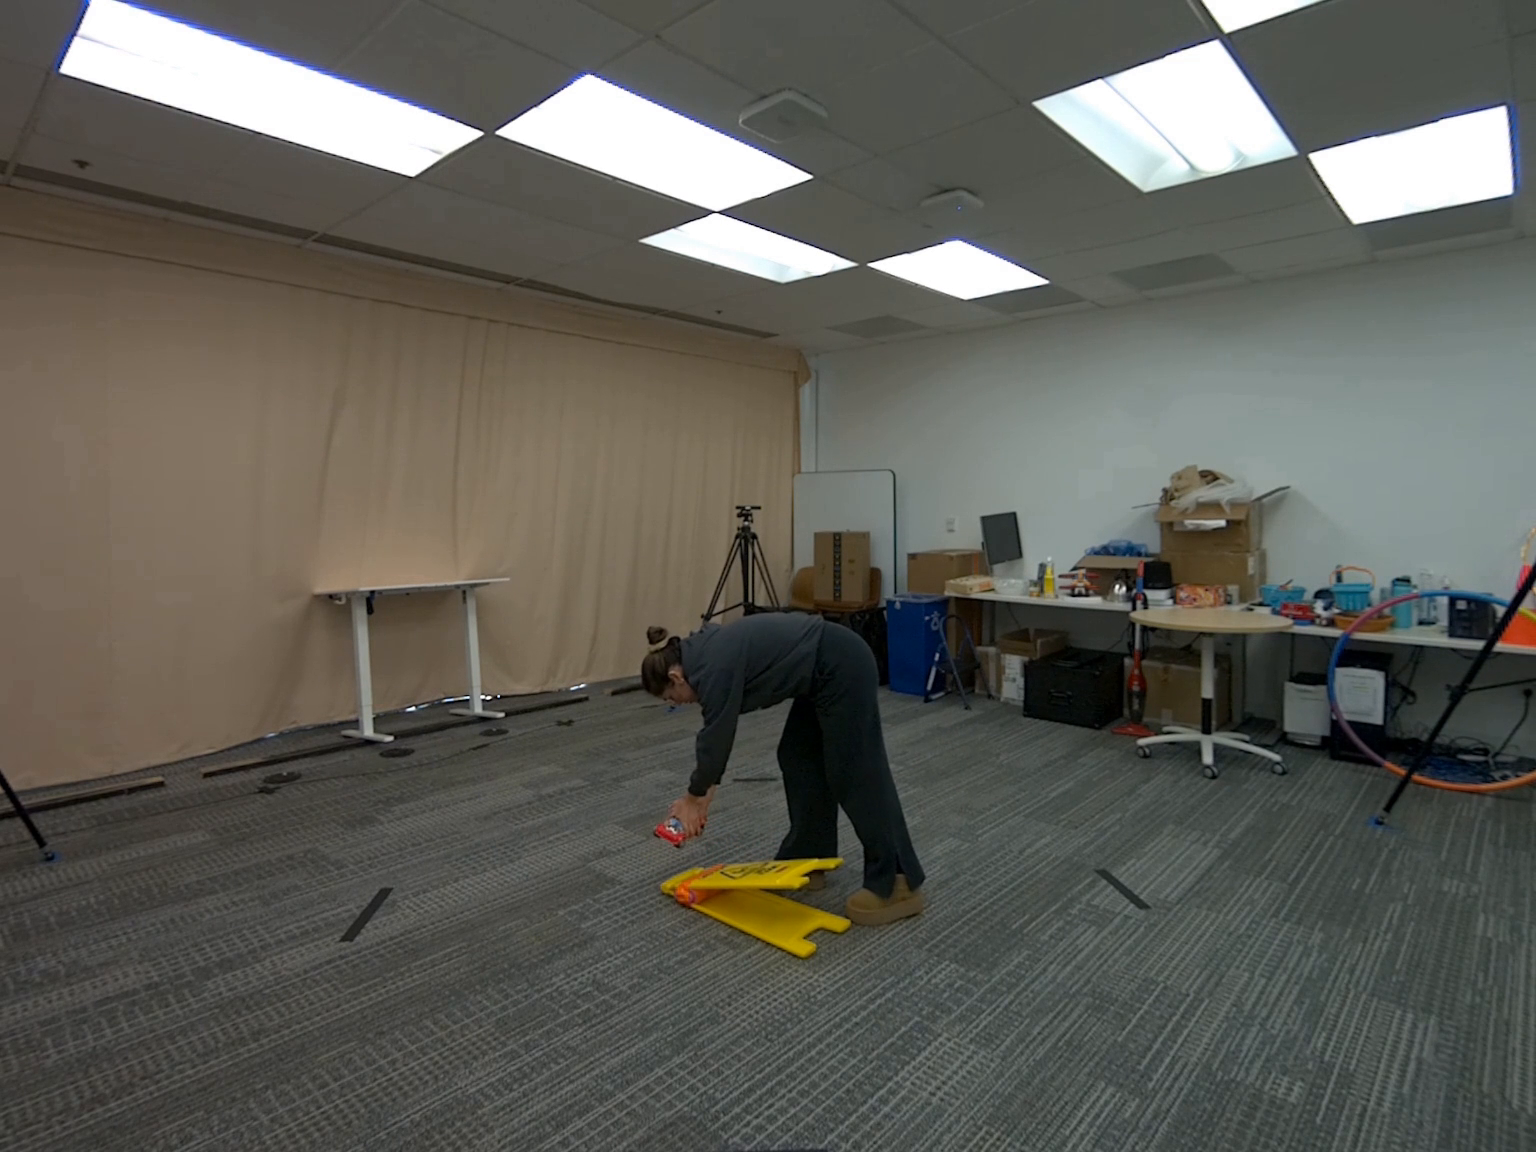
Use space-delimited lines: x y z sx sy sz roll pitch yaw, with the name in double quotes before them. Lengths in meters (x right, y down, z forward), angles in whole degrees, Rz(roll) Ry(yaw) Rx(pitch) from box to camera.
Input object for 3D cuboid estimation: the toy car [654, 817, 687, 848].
"toy car" -0.292 0.930 3.108 0.134 0.082 0.250 17 19 22
